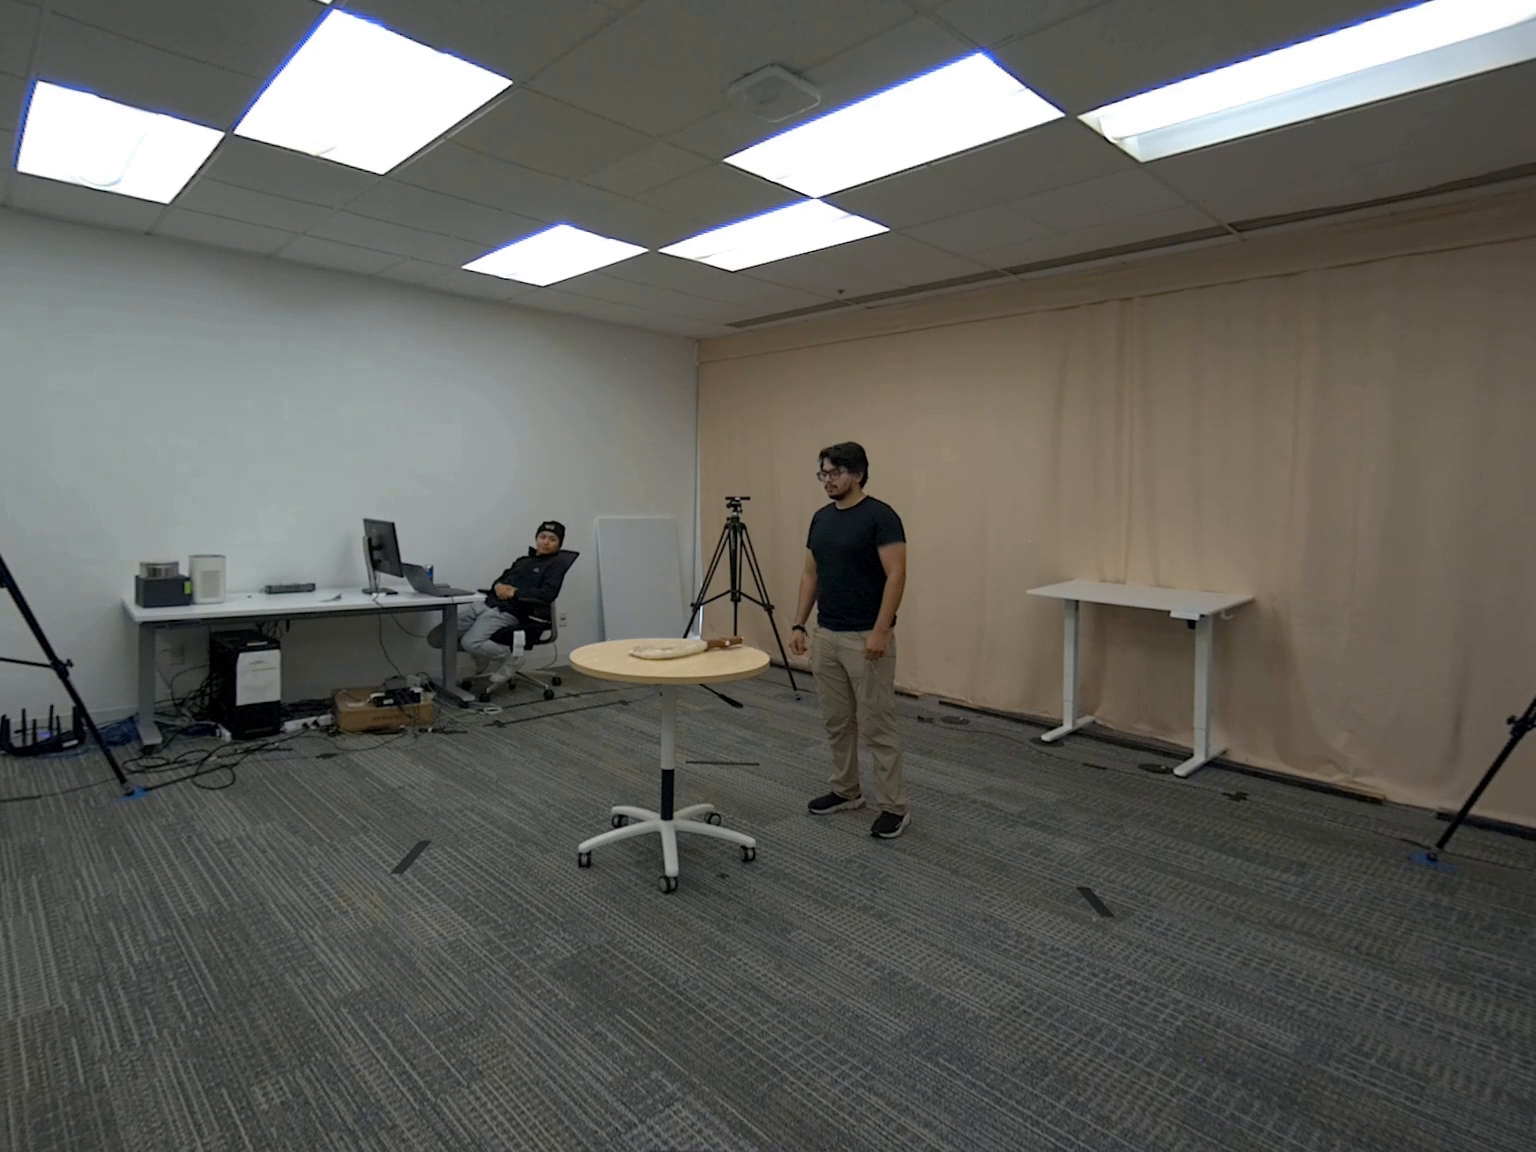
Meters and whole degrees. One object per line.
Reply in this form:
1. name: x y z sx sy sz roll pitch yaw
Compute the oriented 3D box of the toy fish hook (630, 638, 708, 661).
1. toy fish hook: -0.330 0.276 3.341 0.495 0.048 0.230 -4 9 -44
